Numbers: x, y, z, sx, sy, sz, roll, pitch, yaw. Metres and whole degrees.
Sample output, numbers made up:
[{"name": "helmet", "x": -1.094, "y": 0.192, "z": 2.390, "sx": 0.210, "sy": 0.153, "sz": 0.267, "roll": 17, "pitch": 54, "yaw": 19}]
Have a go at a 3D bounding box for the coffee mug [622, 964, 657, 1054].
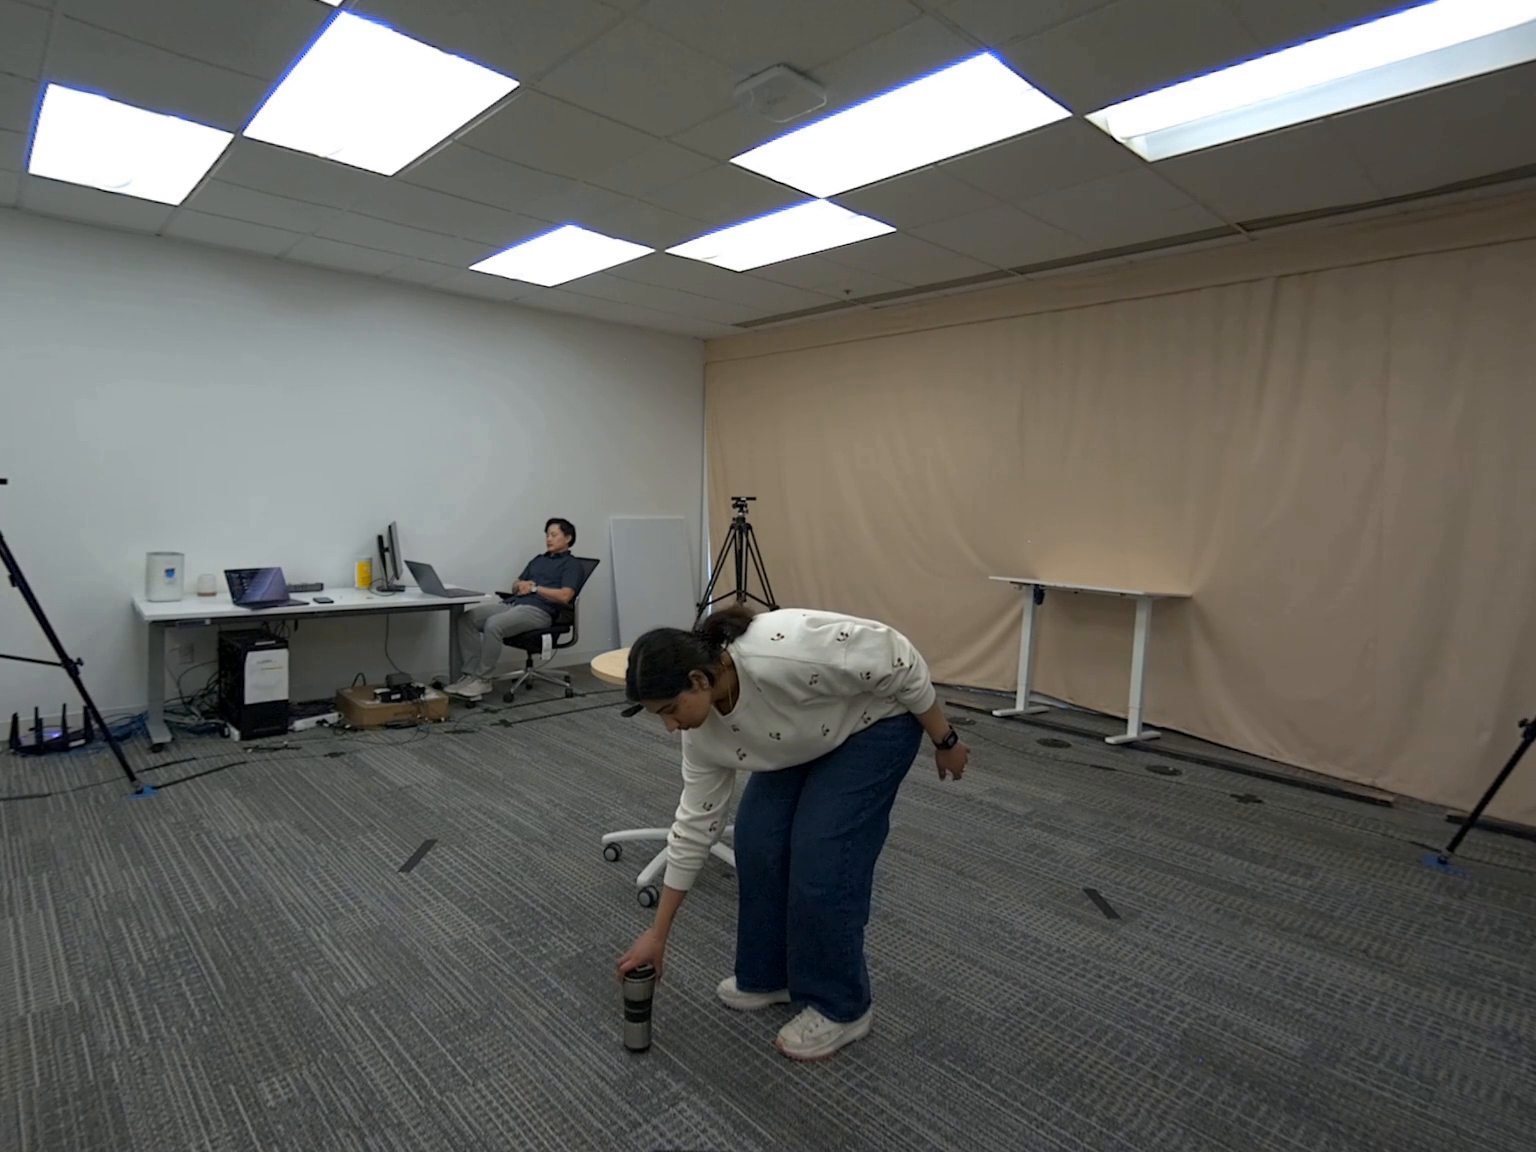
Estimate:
[{"name": "coffee mug", "x": -0.316, "y": 1.082, "z": 2.148, "sx": 0.090, "sy": 0.203, "sz": 0.119, "roll": -2, "pitch": -1, "yaw": 43}]
